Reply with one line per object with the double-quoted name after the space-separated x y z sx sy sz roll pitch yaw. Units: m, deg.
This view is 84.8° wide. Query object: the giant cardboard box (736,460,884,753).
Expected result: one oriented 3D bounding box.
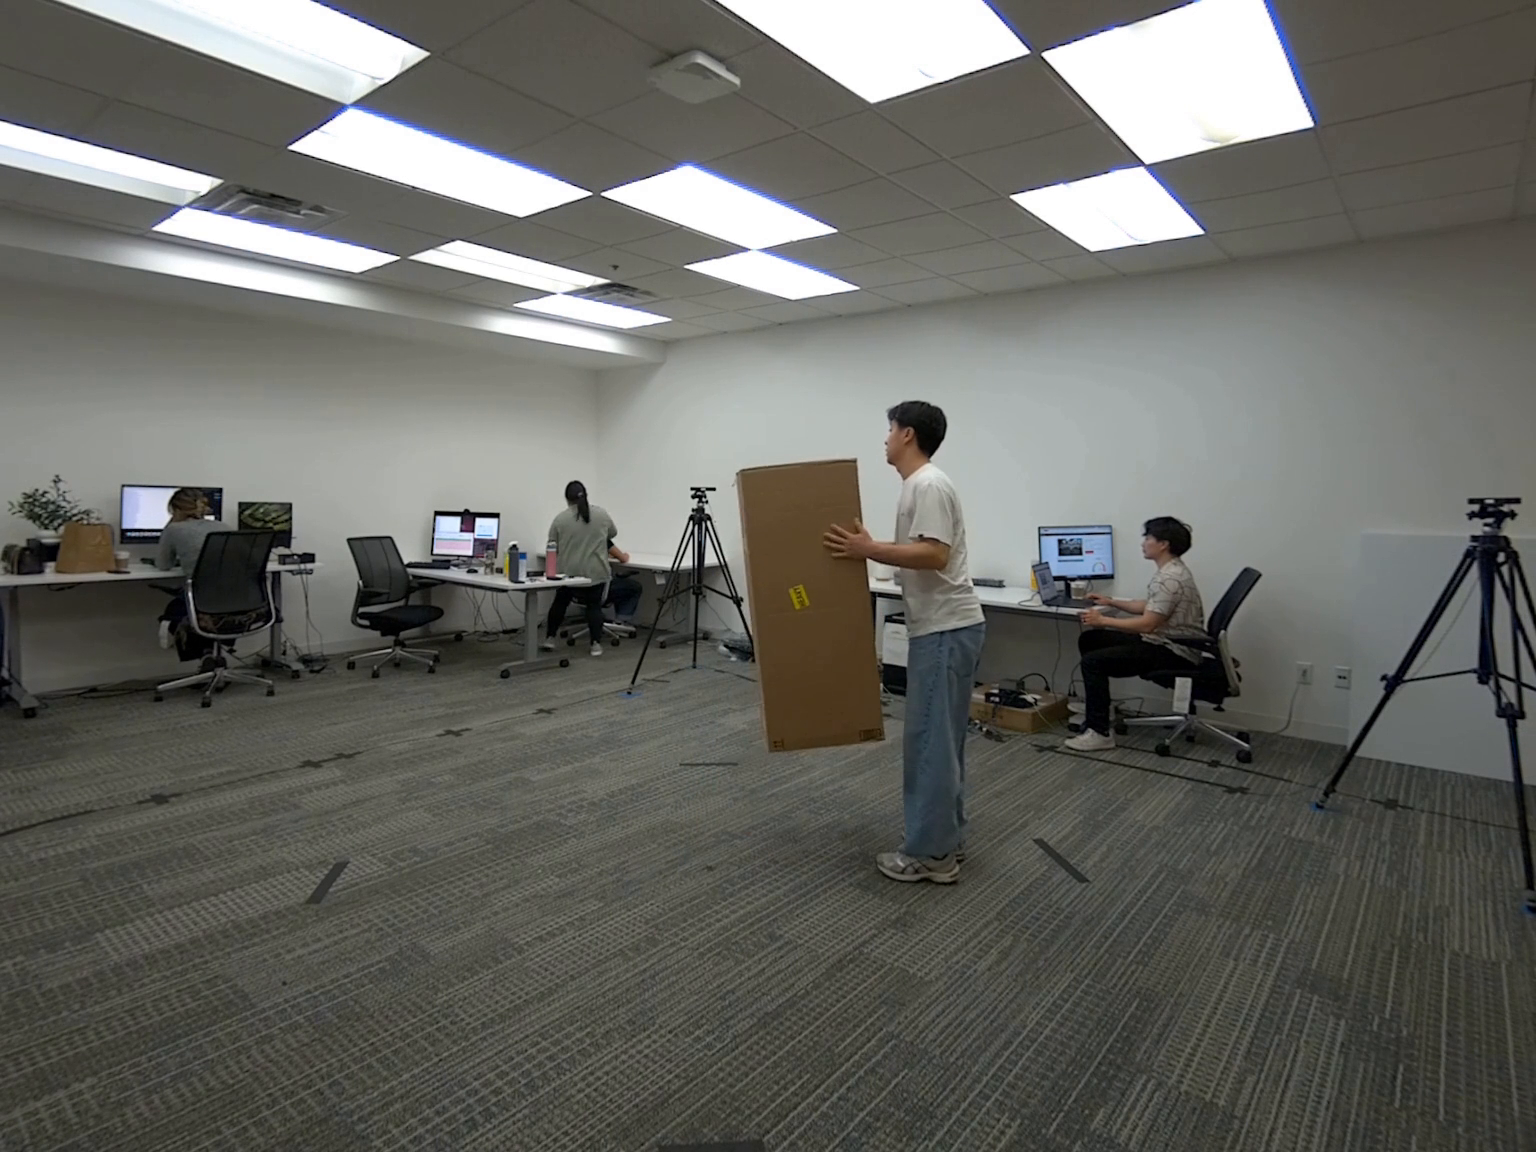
0.132 0.116 3.331 0.426 1.025 0.578 -6 1 -1 "giant cardboard box"
